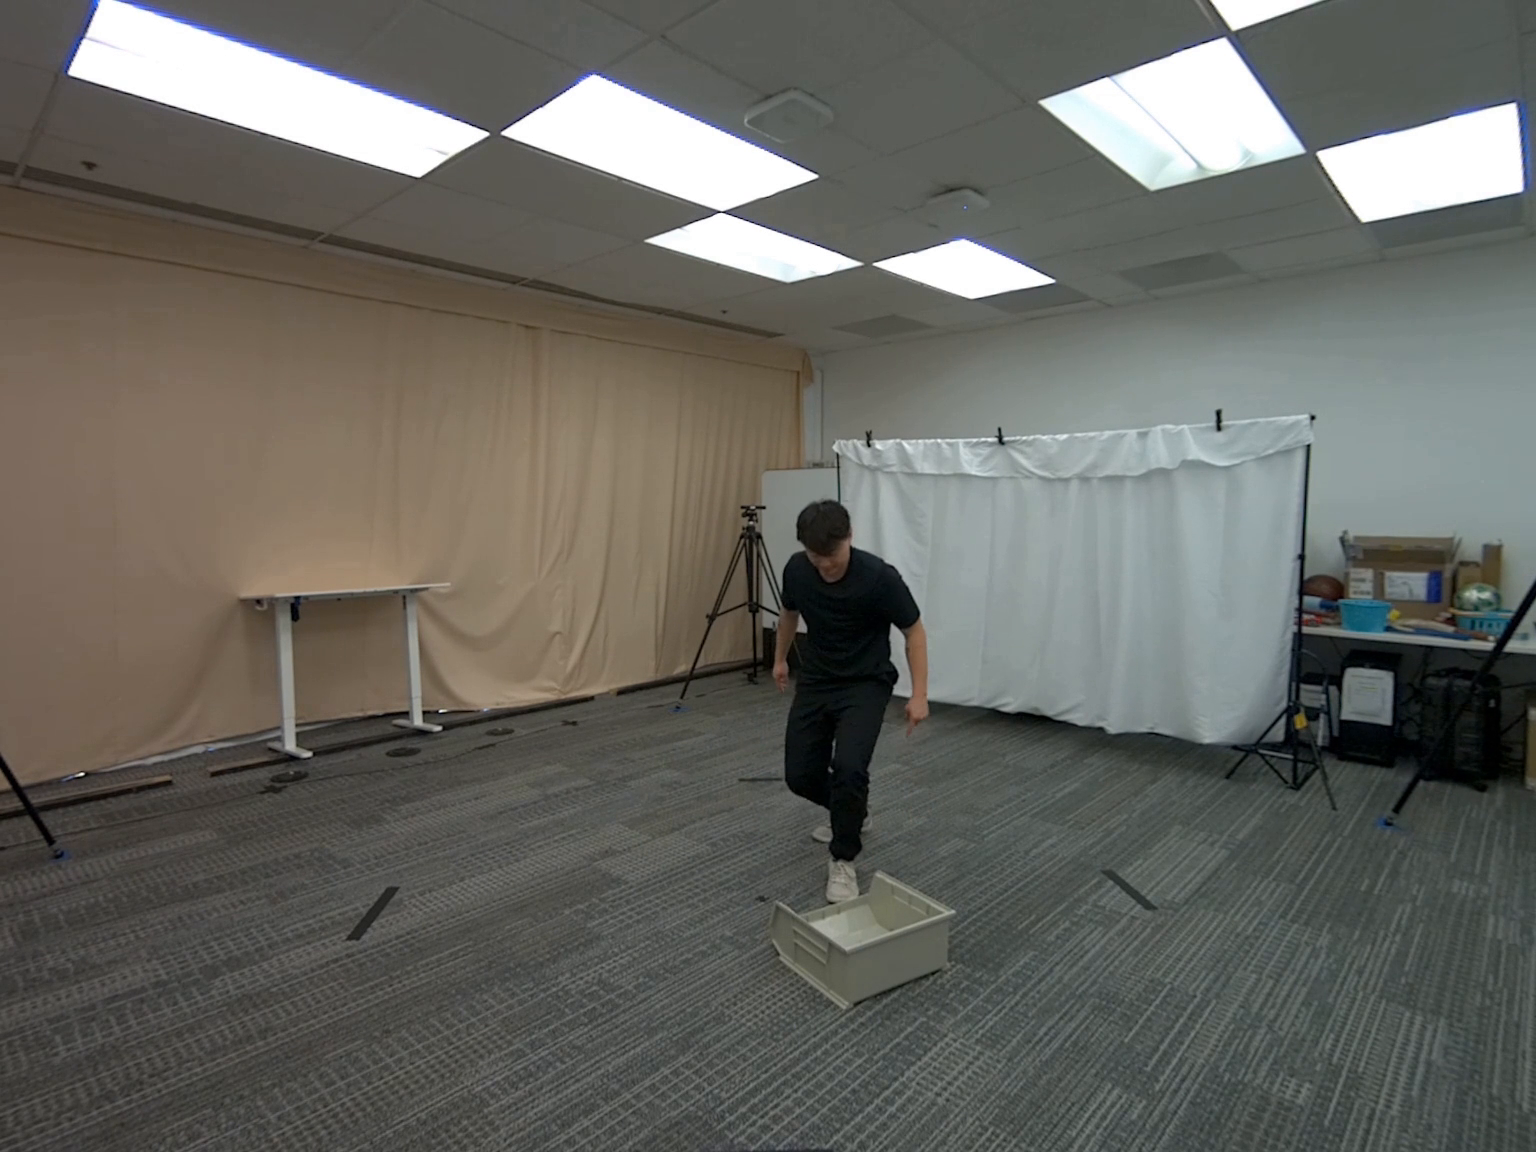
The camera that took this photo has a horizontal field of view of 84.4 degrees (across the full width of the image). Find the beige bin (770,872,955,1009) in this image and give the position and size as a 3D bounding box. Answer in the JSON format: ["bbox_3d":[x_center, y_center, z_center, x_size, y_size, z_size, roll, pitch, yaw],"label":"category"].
[{"bbox_3d":[0.282,1.087,2.572,0.410,0.188,0.389,-2,5,-33],"label":"beige bin"}]
